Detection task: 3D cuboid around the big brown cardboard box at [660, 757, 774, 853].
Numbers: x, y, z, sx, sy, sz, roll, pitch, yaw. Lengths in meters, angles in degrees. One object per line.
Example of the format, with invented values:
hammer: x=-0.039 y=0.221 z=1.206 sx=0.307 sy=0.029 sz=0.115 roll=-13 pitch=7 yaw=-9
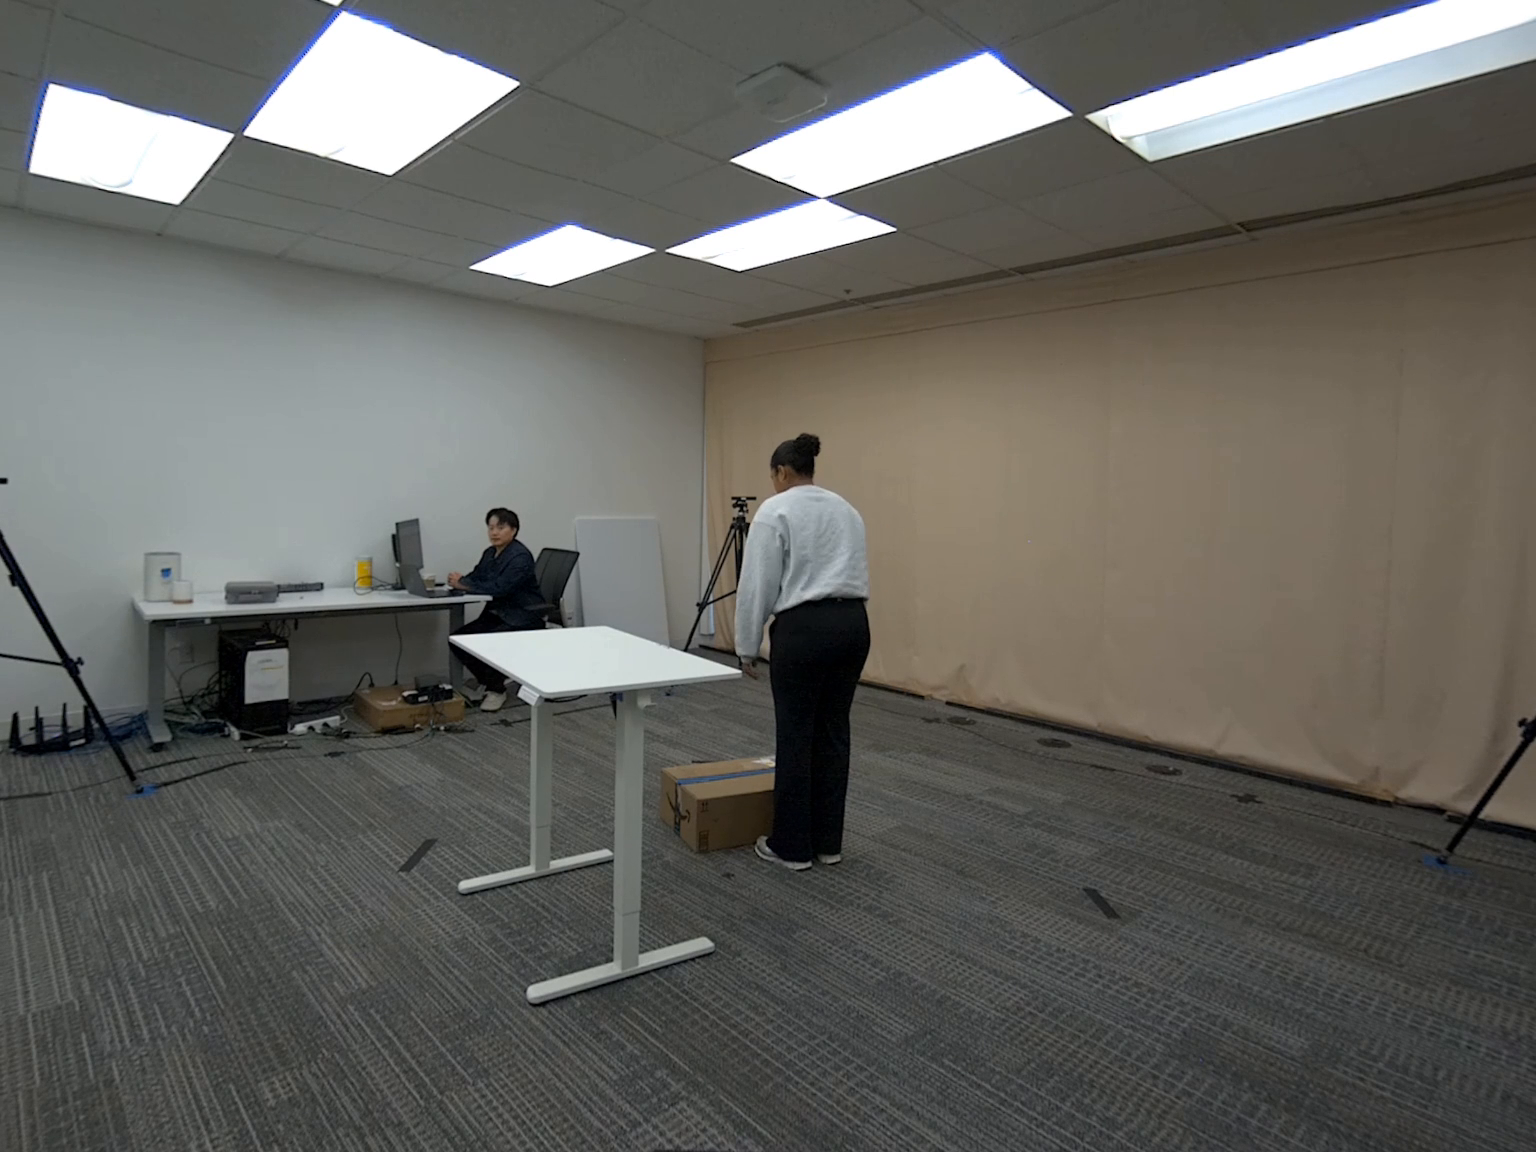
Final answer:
big brown cardboard box: x=-0.129 y=0.953 z=3.589 sx=0.578 sy=0.232 sz=0.426 roll=-2 pitch=5 yaw=-27
